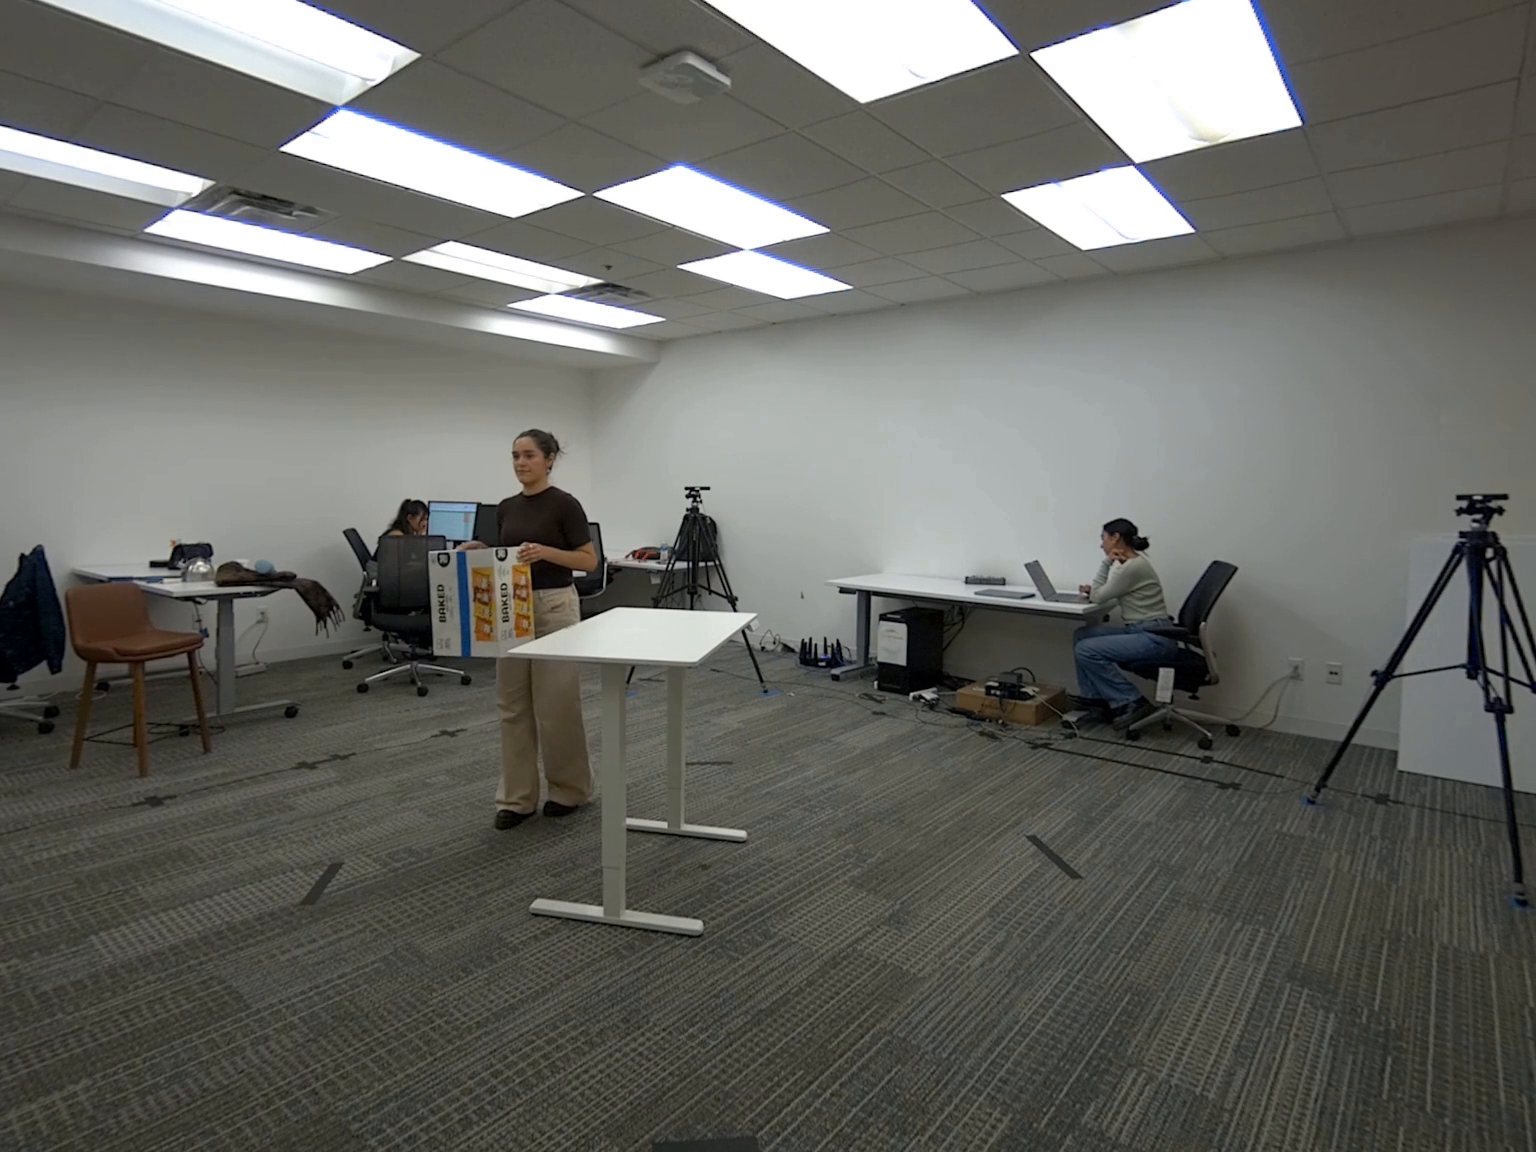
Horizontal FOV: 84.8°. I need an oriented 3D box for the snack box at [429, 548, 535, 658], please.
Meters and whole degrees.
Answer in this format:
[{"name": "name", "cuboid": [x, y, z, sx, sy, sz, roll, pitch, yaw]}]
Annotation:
[{"name": "snack box", "cuboid": [-1.128, 0.094, 3.304, 0.349, 0.405, 0.201, -3, 1, 27]}]
